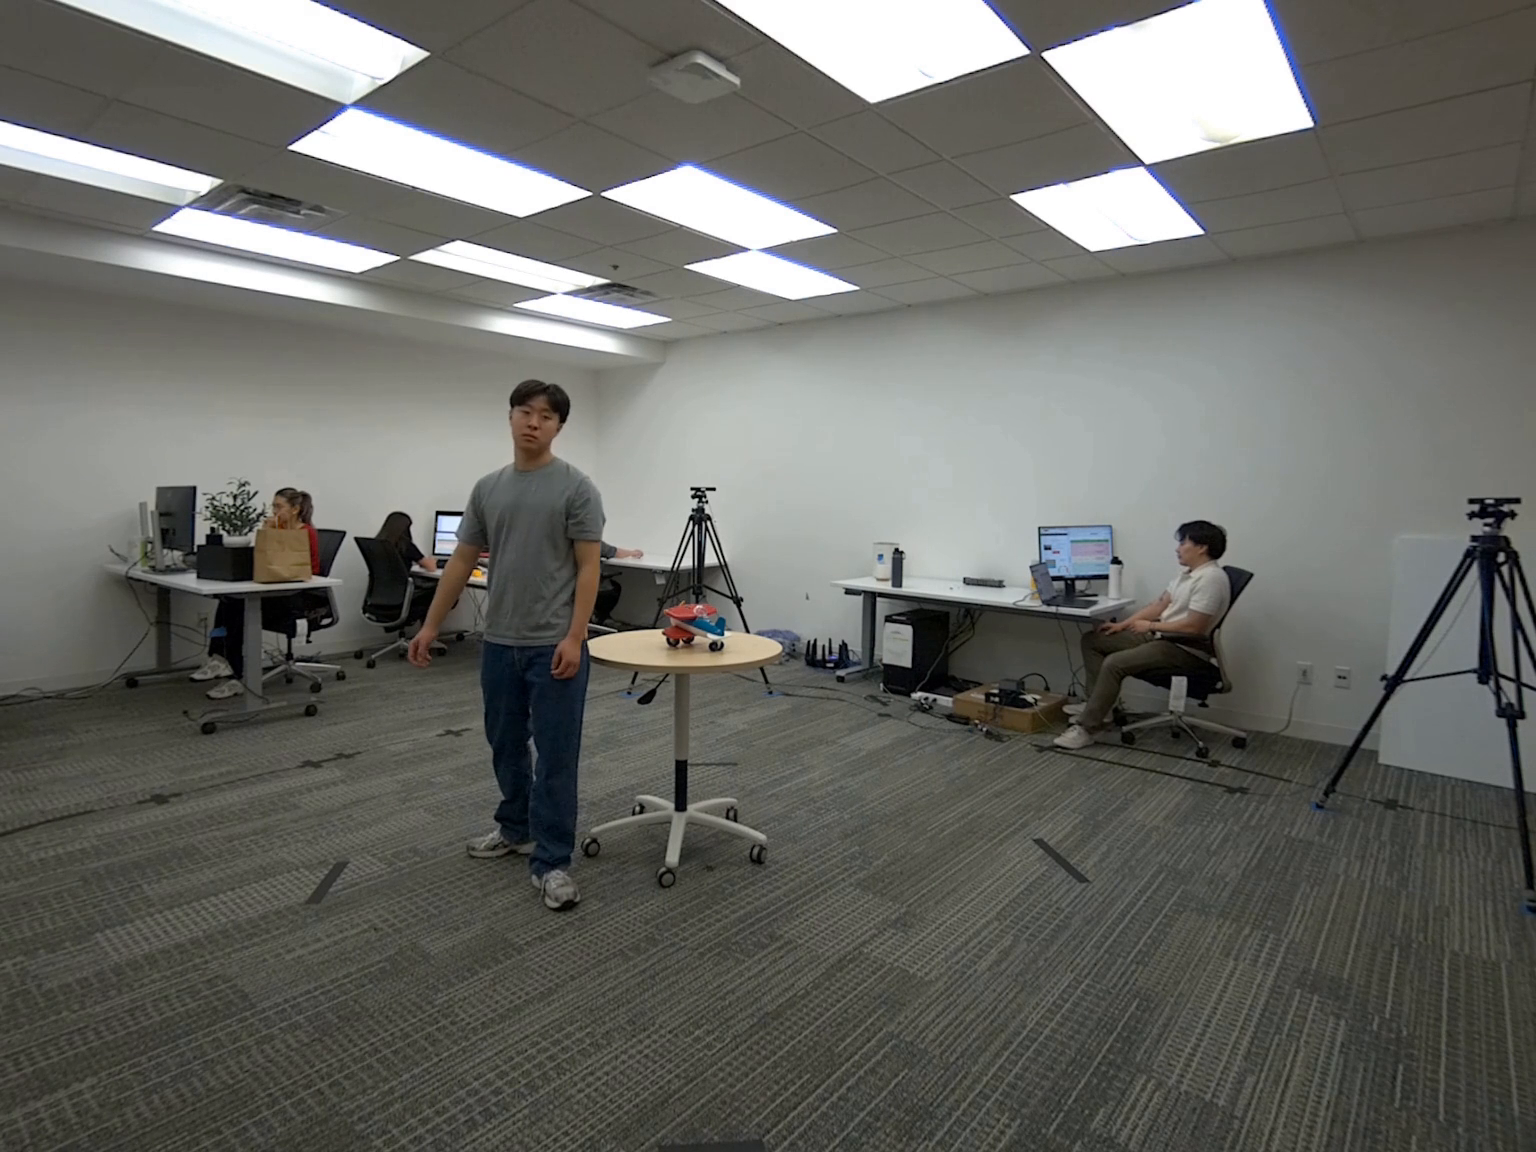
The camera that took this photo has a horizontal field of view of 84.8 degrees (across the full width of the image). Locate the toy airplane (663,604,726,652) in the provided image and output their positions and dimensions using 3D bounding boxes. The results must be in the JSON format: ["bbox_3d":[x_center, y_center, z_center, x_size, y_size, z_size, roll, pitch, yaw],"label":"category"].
[{"bbox_3d":[-0.269,0.192,3.239,0.262,0.156,0.250,0,6,8],"label":"toy airplane"}]
